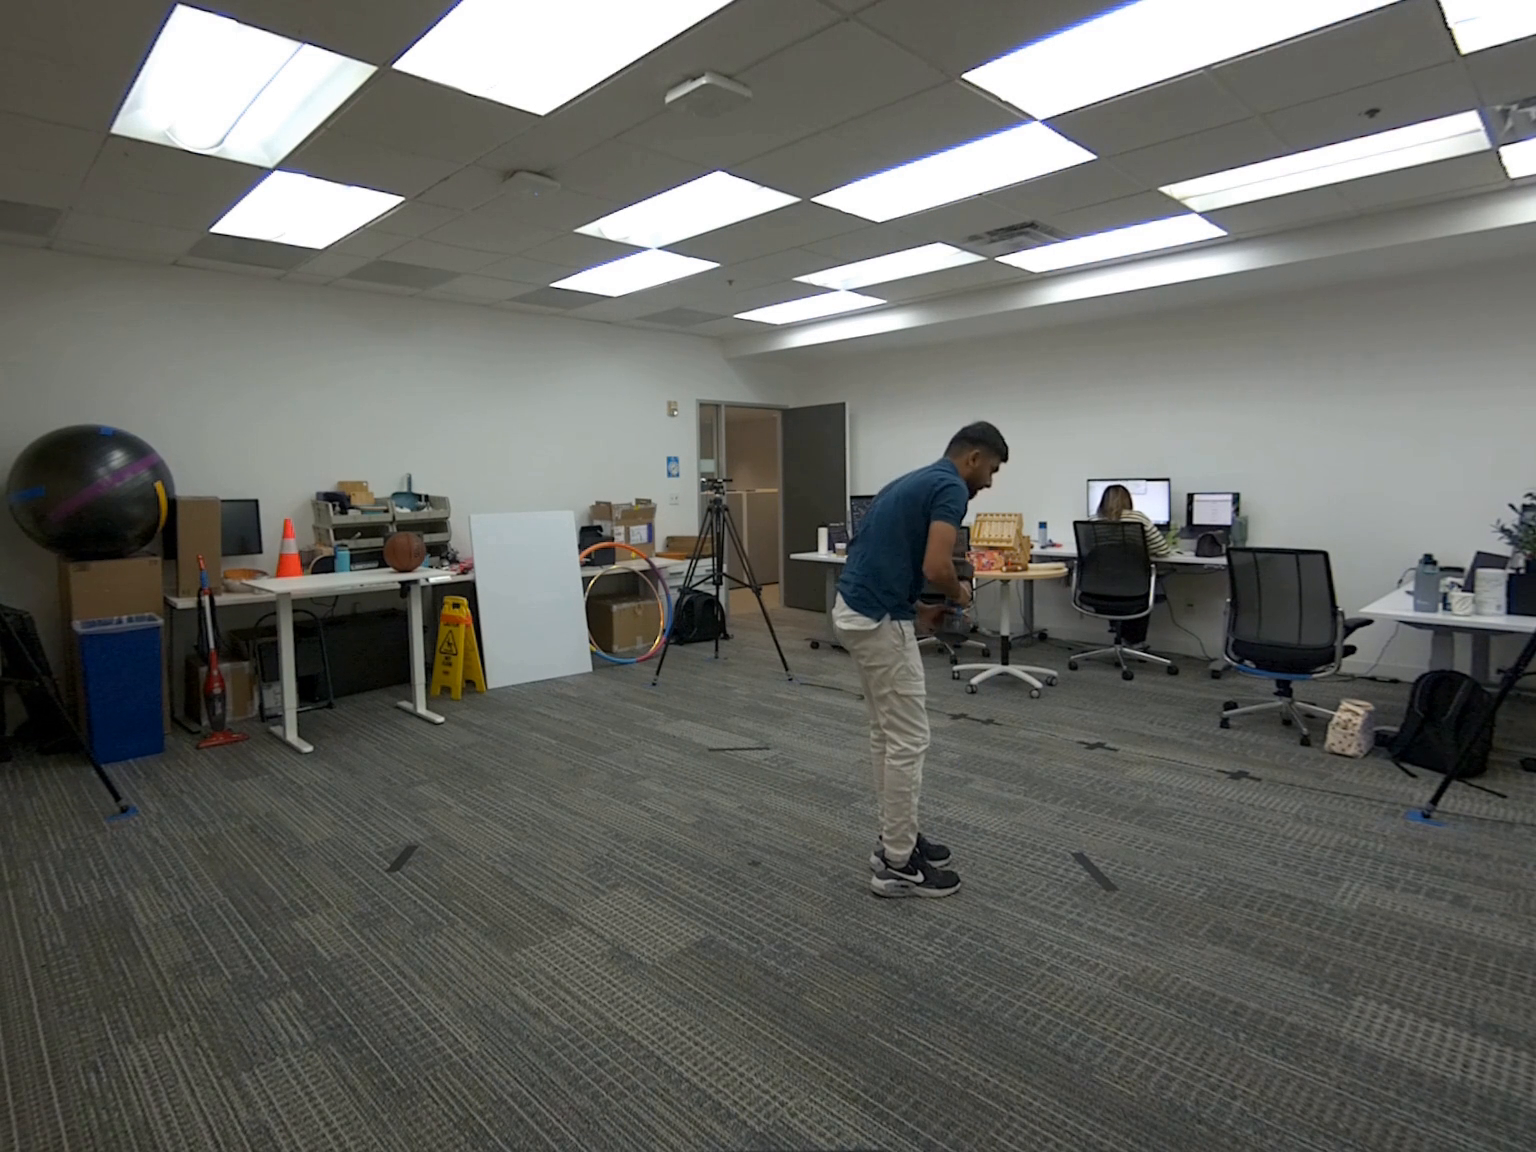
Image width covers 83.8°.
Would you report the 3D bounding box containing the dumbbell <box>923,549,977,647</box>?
[{"bbox_3d":[0.663,0.099,2.997,0.119,0.297,0.111,25,-24,-34],"label":"dumbbell"}]
